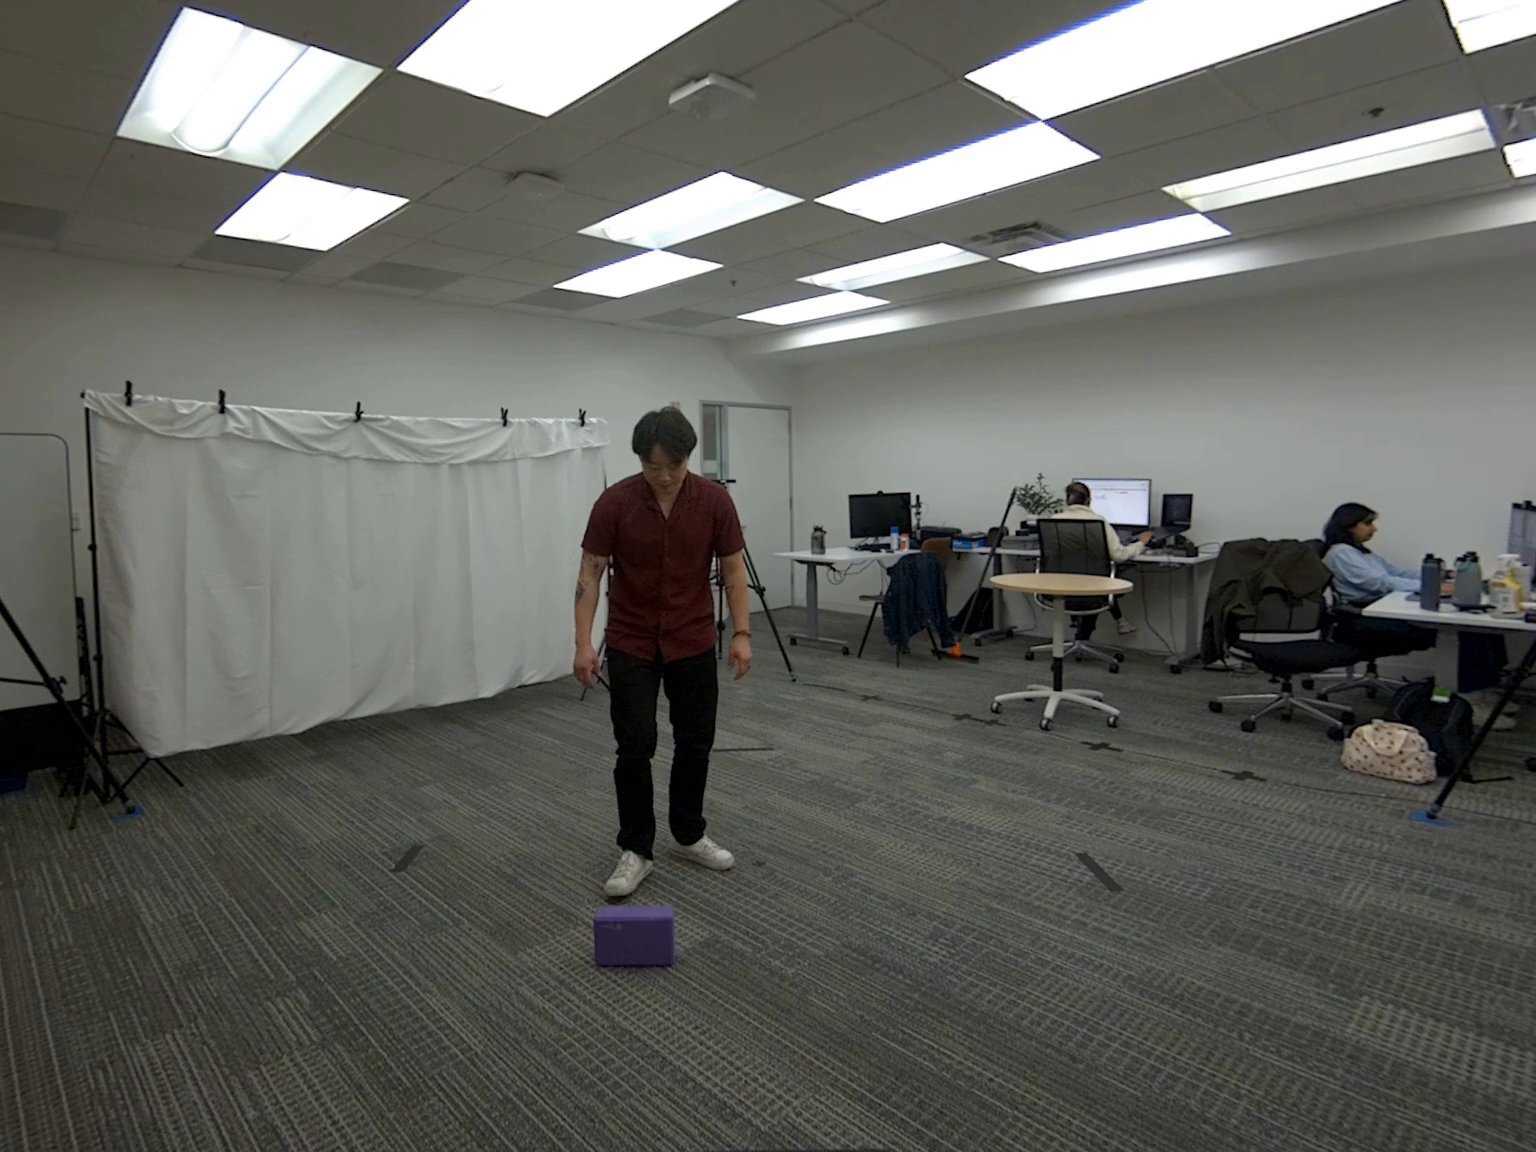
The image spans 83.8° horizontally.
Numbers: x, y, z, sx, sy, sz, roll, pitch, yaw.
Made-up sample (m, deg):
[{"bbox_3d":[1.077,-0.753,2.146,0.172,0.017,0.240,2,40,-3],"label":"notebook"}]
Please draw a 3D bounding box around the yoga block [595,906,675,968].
[{"bbox_3d":[-0.392,1.051,2.494,0.229,0.148,0.077,-2,5,1],"label":"yoga block"}]
